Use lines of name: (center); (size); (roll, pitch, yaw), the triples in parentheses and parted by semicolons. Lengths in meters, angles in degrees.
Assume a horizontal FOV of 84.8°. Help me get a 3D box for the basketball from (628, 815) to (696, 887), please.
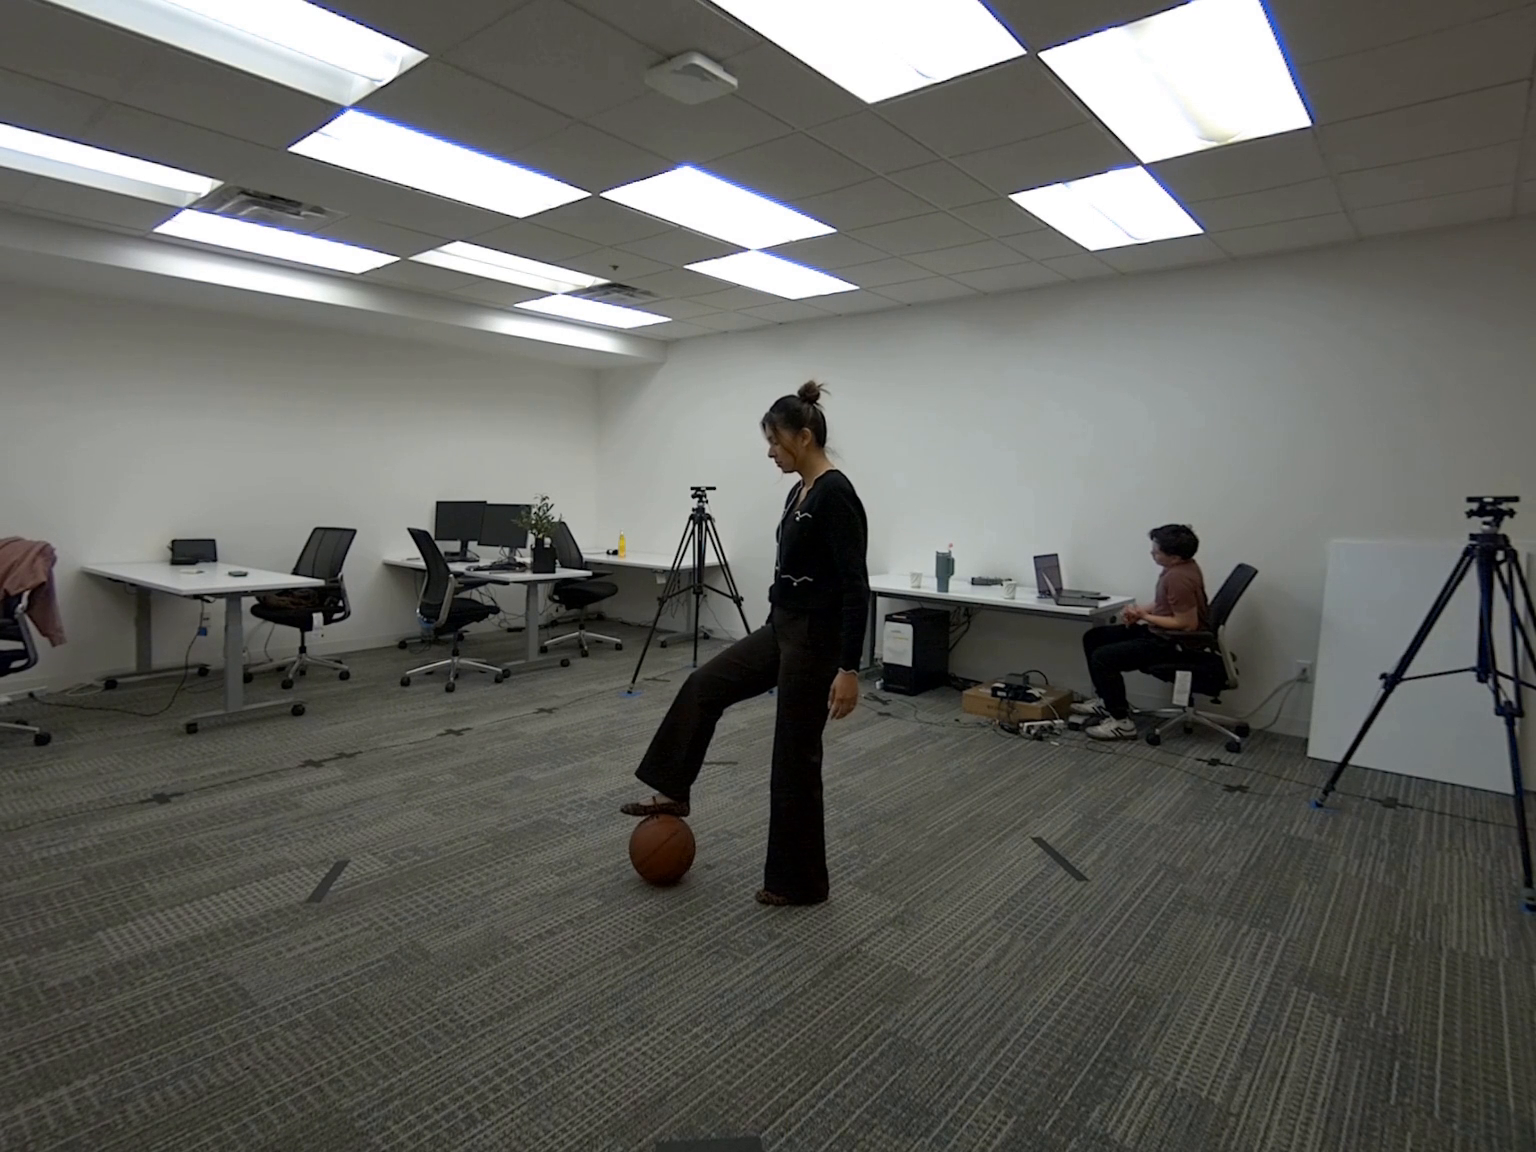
basketball: (-0.378, 0.958, 3.006); (0.235, 0.235, 0.237); (1, 4, -2)
